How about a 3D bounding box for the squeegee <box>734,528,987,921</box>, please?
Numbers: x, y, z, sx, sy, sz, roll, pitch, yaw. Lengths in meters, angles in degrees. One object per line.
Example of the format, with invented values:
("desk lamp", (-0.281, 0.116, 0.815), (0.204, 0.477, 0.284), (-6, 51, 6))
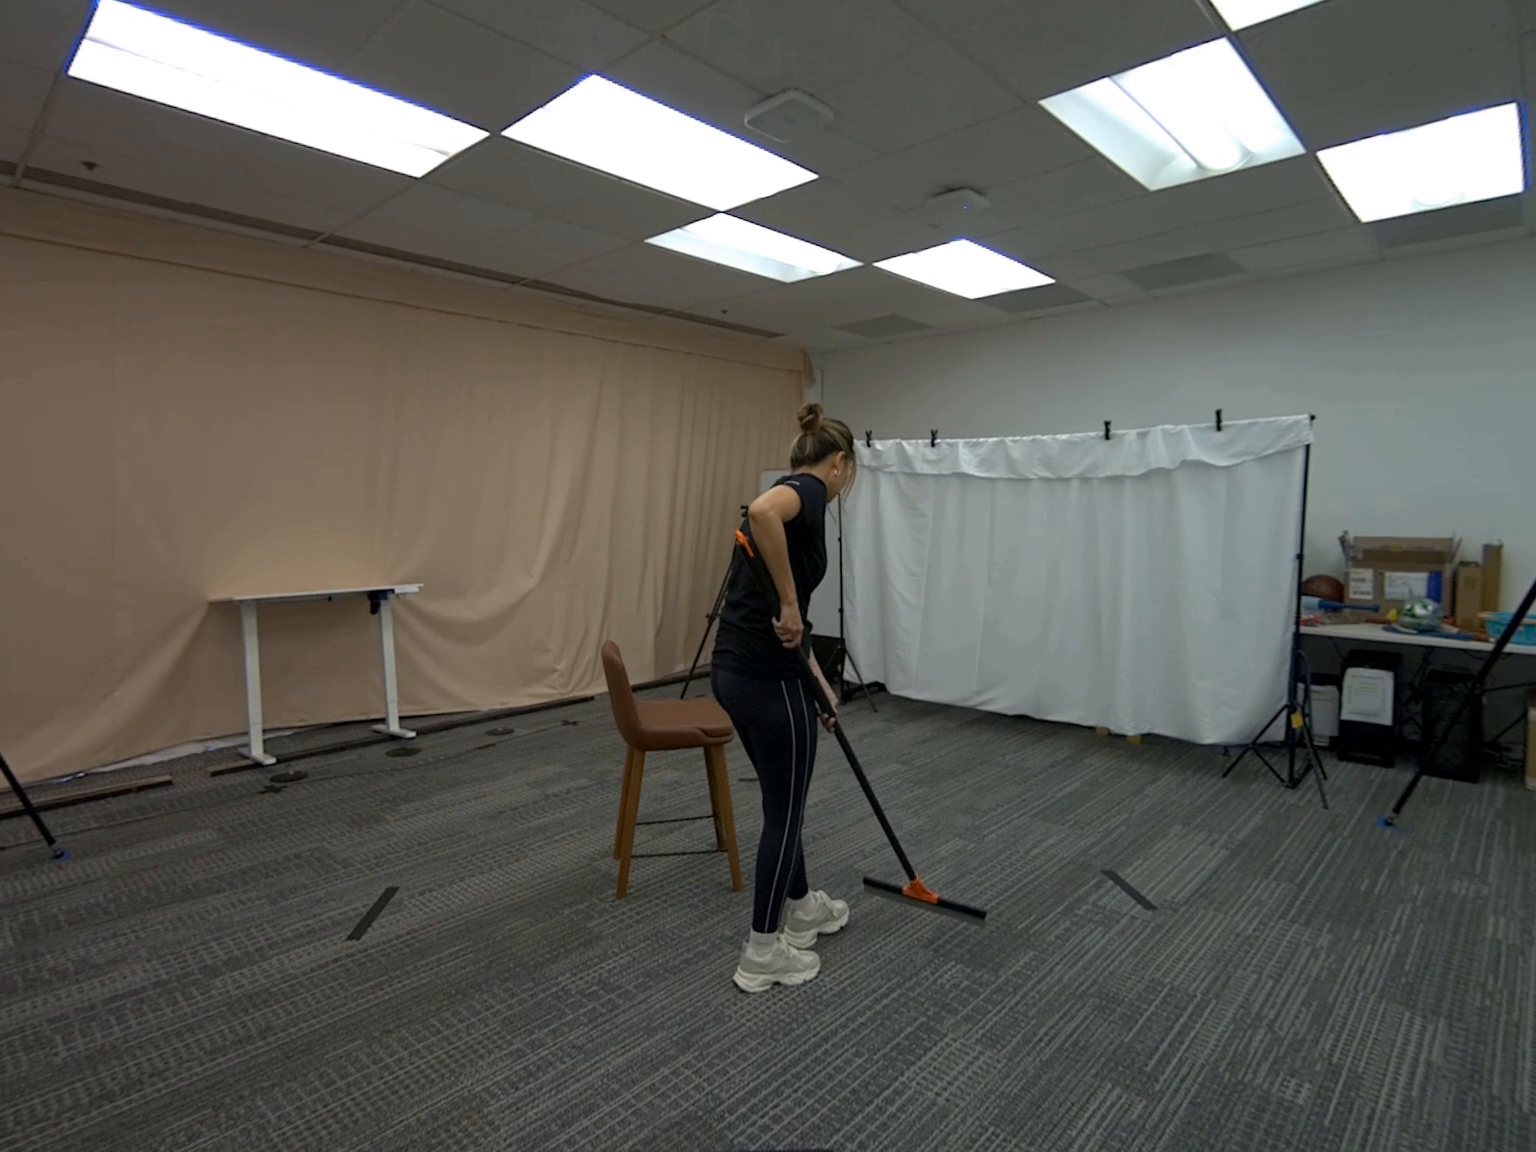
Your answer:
("squeegee", (0.248, 0.489, 2.404), (0.451, 1.495, 0.053), (1, 41, 37))
